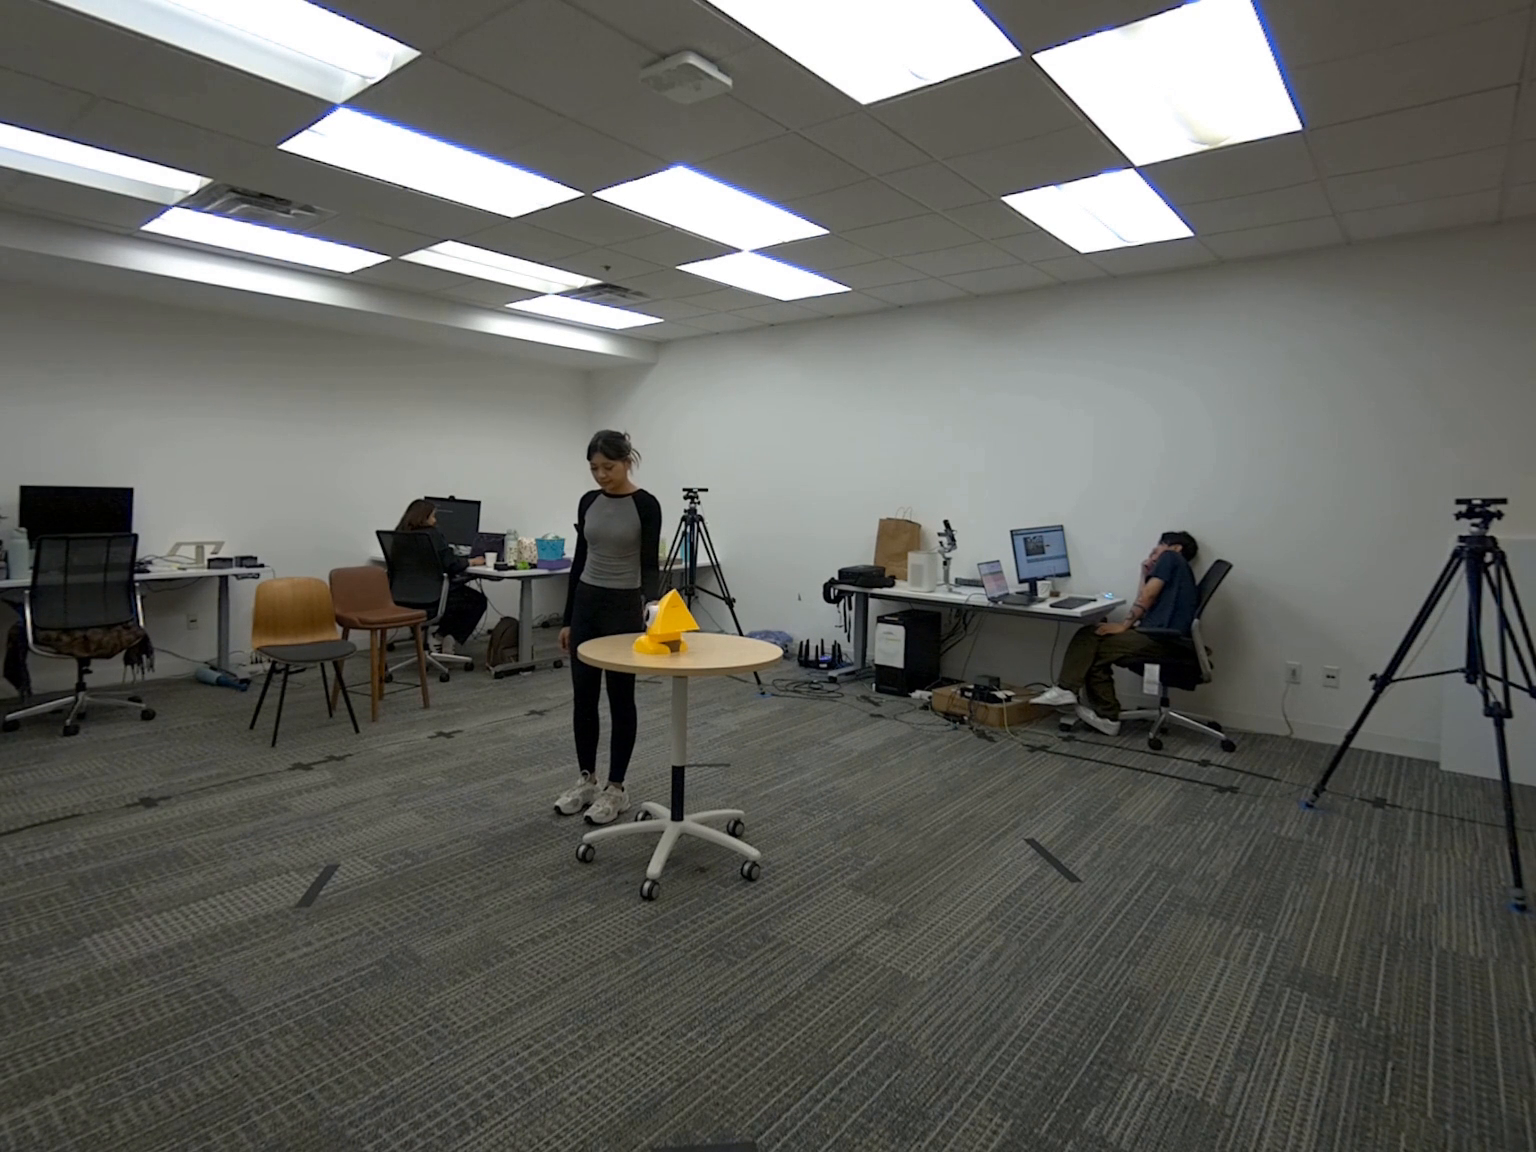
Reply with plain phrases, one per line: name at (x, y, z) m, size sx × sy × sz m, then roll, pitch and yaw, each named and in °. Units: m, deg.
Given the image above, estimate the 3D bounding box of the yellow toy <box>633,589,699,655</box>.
yellow toy at (-0.398, 0.156, 3.140) m, size 0.199 × 0.230 × 0.198 m, roll 3°, pitch 3°, yaw 42°
